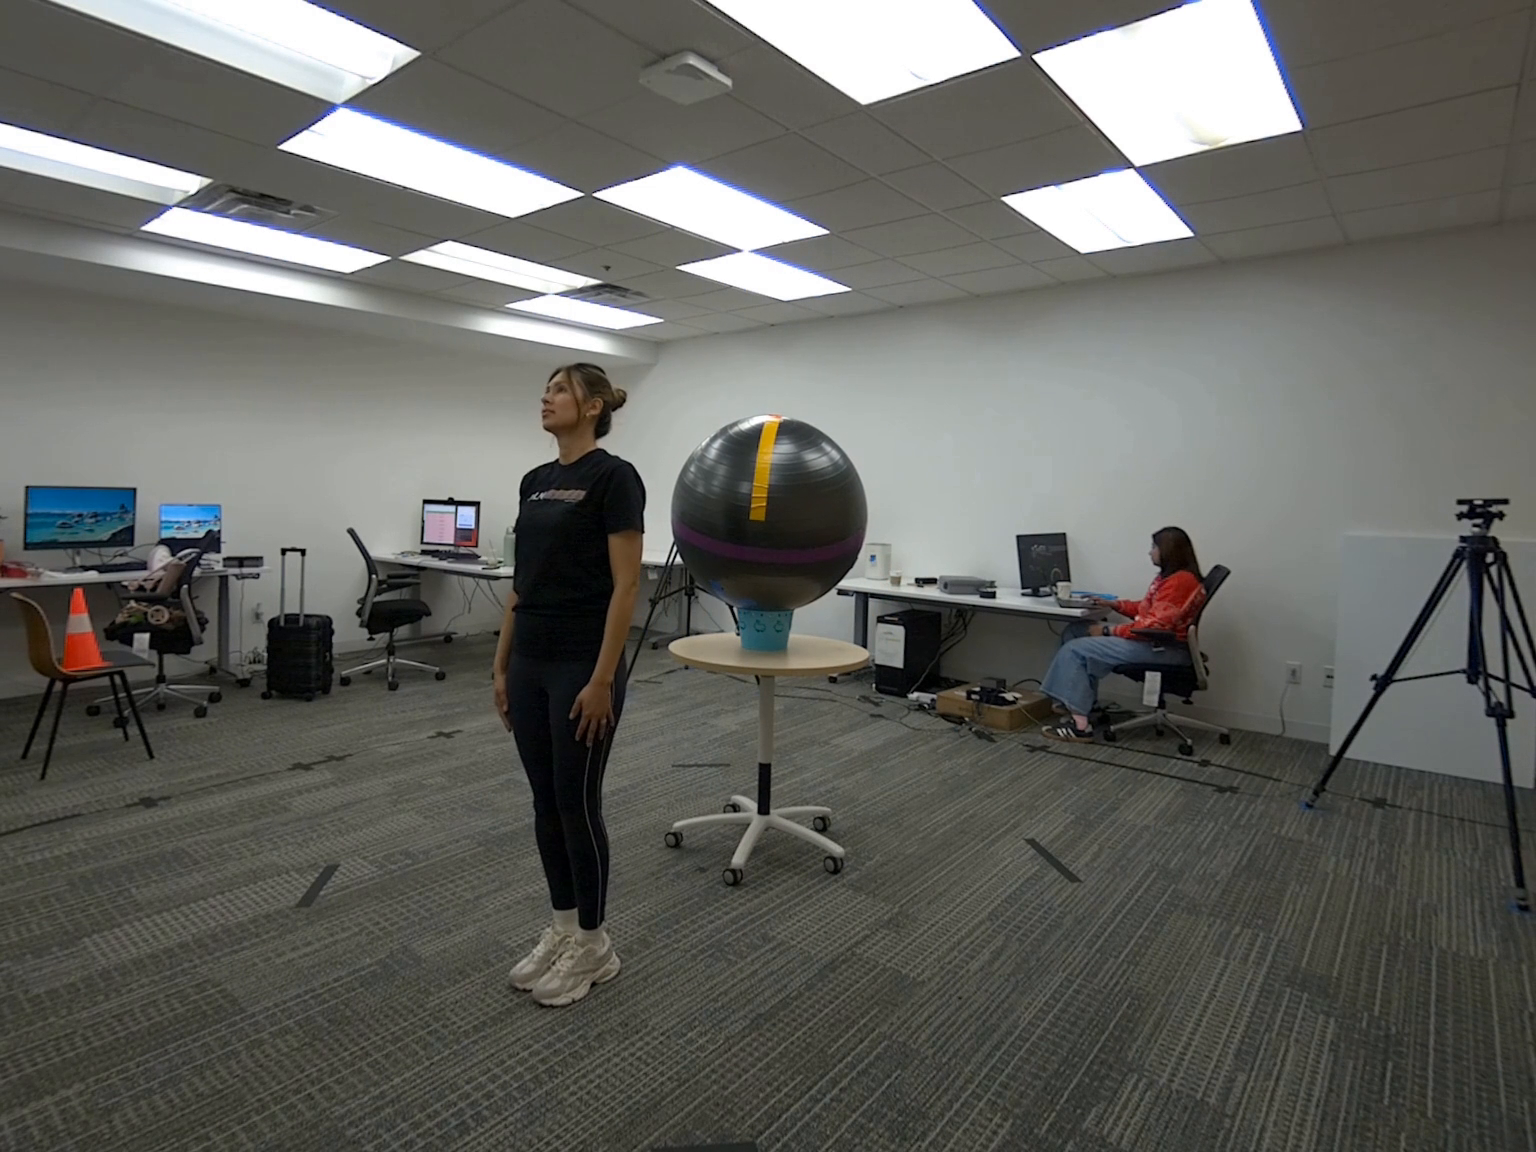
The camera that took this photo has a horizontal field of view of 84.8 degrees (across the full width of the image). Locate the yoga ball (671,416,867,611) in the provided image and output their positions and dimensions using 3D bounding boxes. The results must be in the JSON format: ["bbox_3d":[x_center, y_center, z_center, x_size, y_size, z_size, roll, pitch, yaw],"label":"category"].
[{"bbox_3d":[-0.002,-0.238,3.297,0.757,0.756,0.762,1,4,-2],"label":"yoga ball"}]
